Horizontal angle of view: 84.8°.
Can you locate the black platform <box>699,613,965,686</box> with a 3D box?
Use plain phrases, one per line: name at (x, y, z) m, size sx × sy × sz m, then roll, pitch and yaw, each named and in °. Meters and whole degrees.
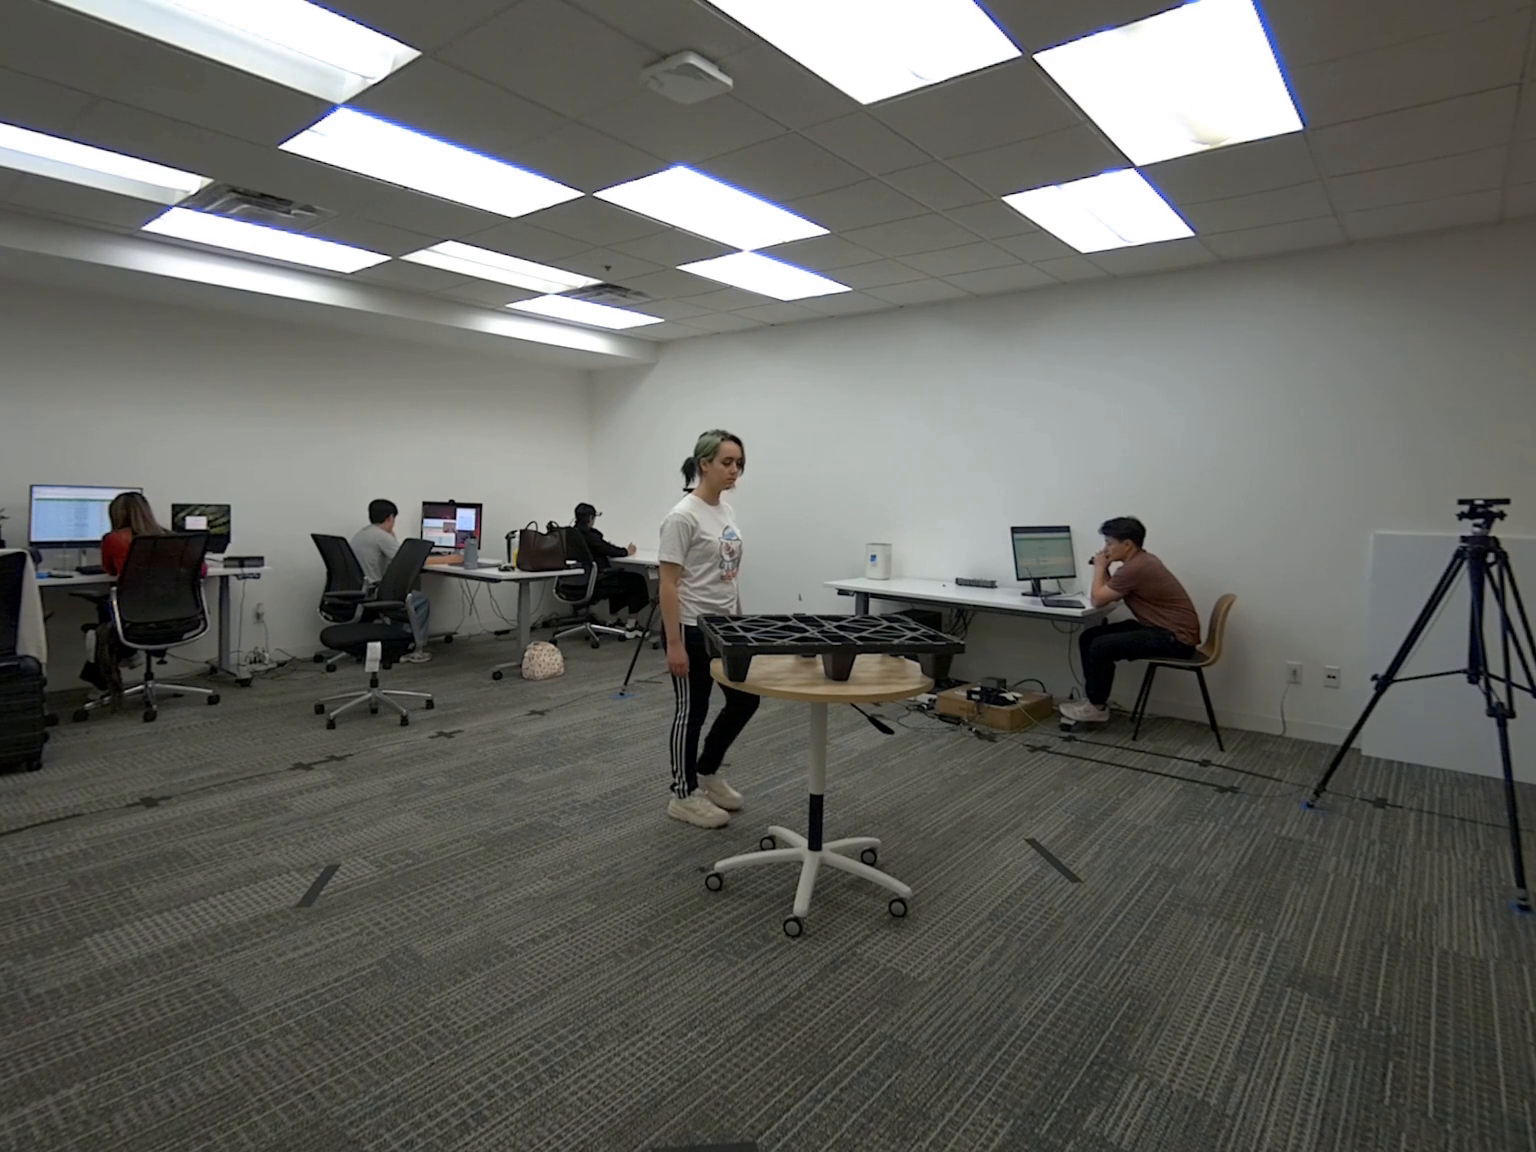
black platform at (0.180, 0.243, 2.961) m, size 0.796 × 0.142 × 0.615 m, roll 0°, pitch 7°, yaw -11°
